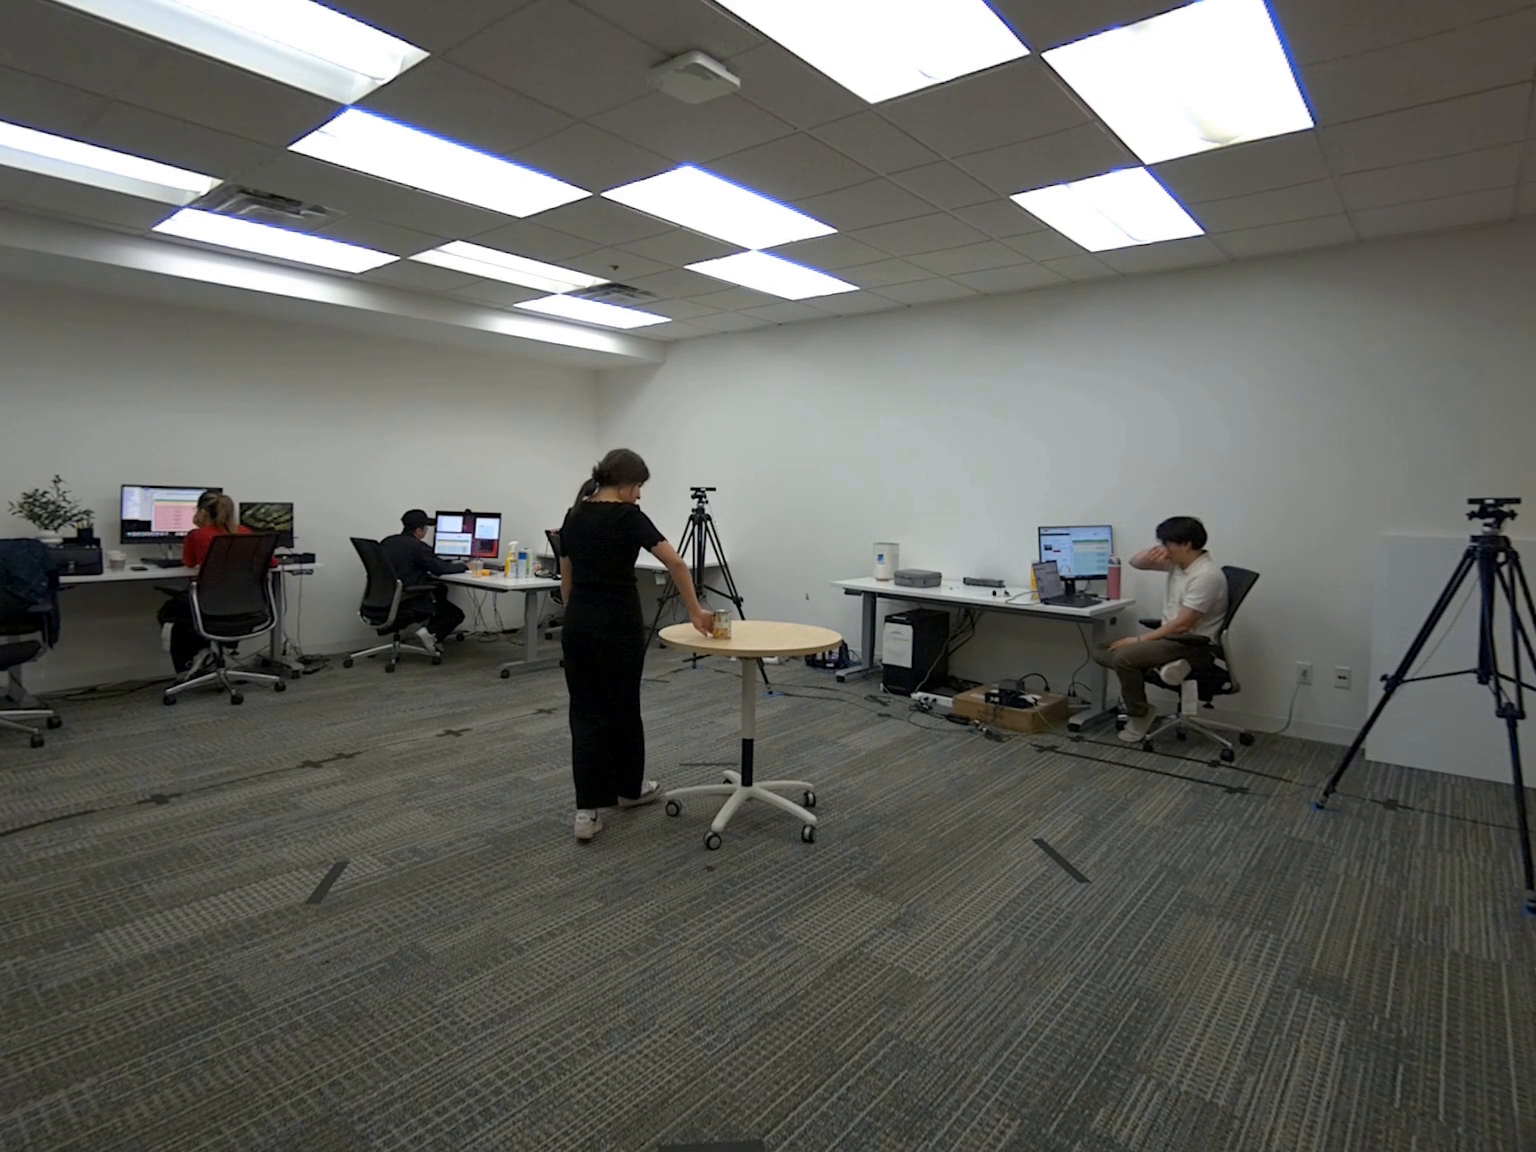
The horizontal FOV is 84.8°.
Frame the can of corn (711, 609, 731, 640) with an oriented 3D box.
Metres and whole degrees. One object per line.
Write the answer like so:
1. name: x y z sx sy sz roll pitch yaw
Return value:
1. can of corn: -0.200 0.199 3.438 0.074 0.111 0.074 -3 2 -2
